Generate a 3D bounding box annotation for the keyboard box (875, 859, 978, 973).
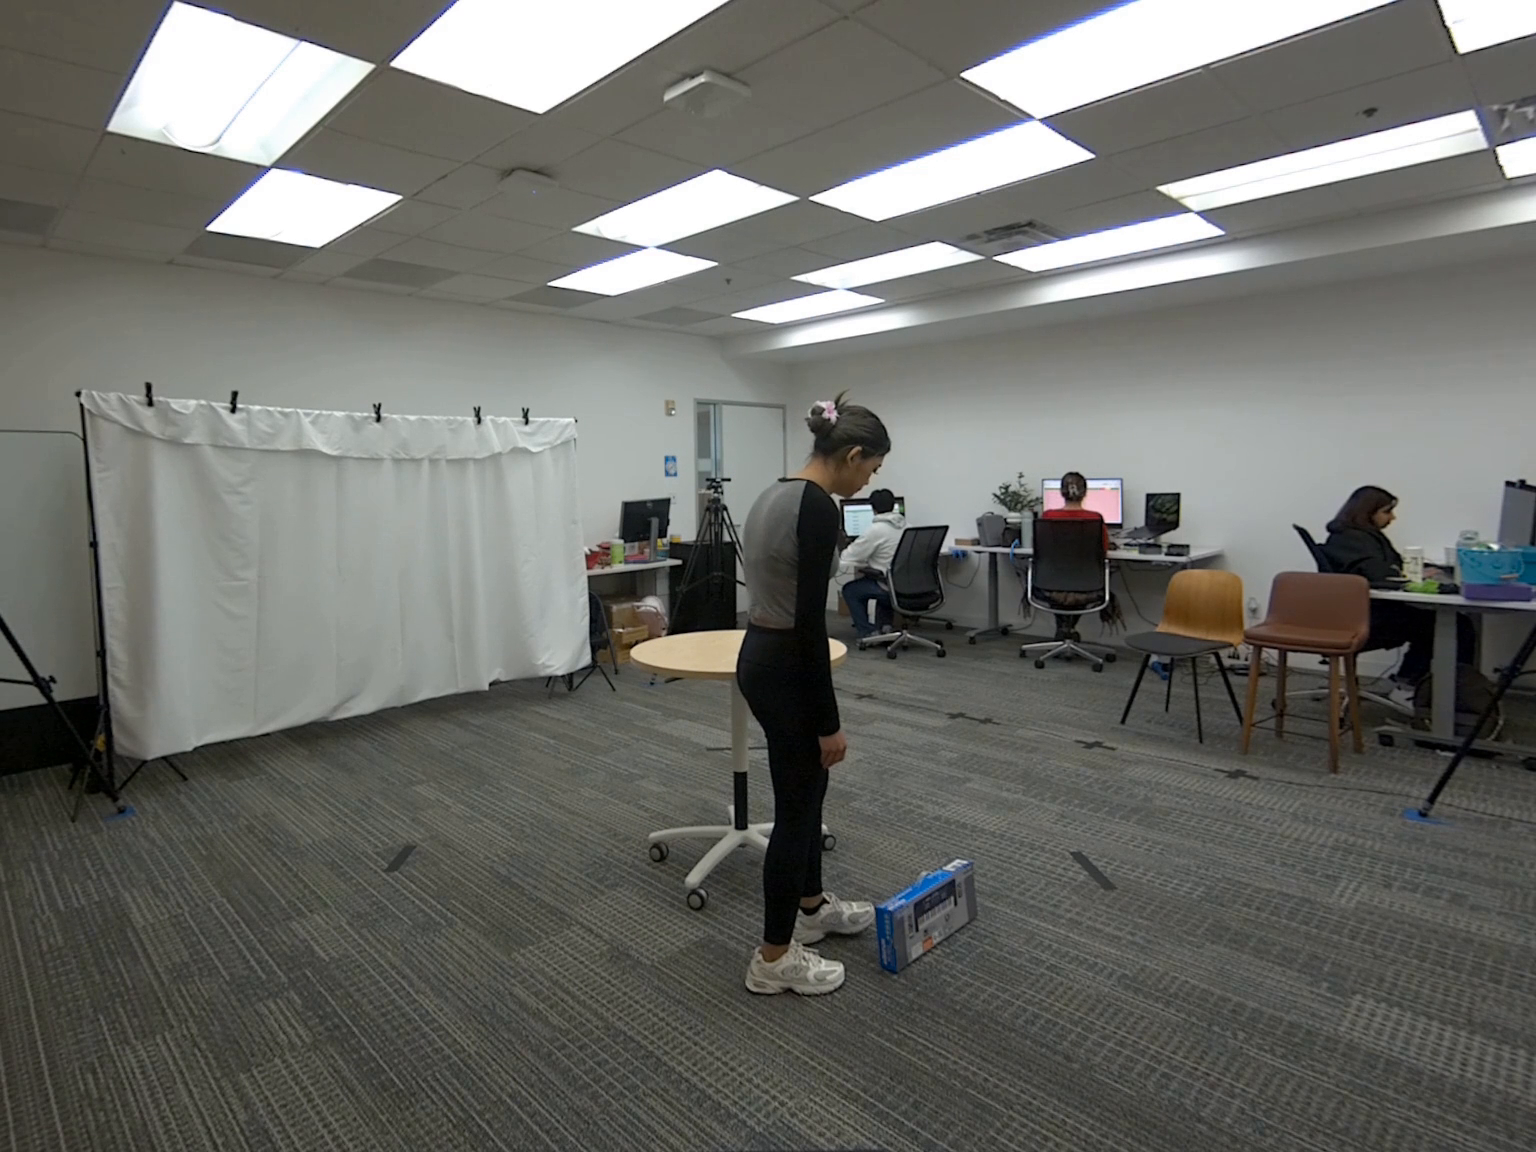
[{"bbox_3d":[0.490,1.011,2.561,0.061,0.176,0.426,-6,2,45],"label":"keyboard box"}]
